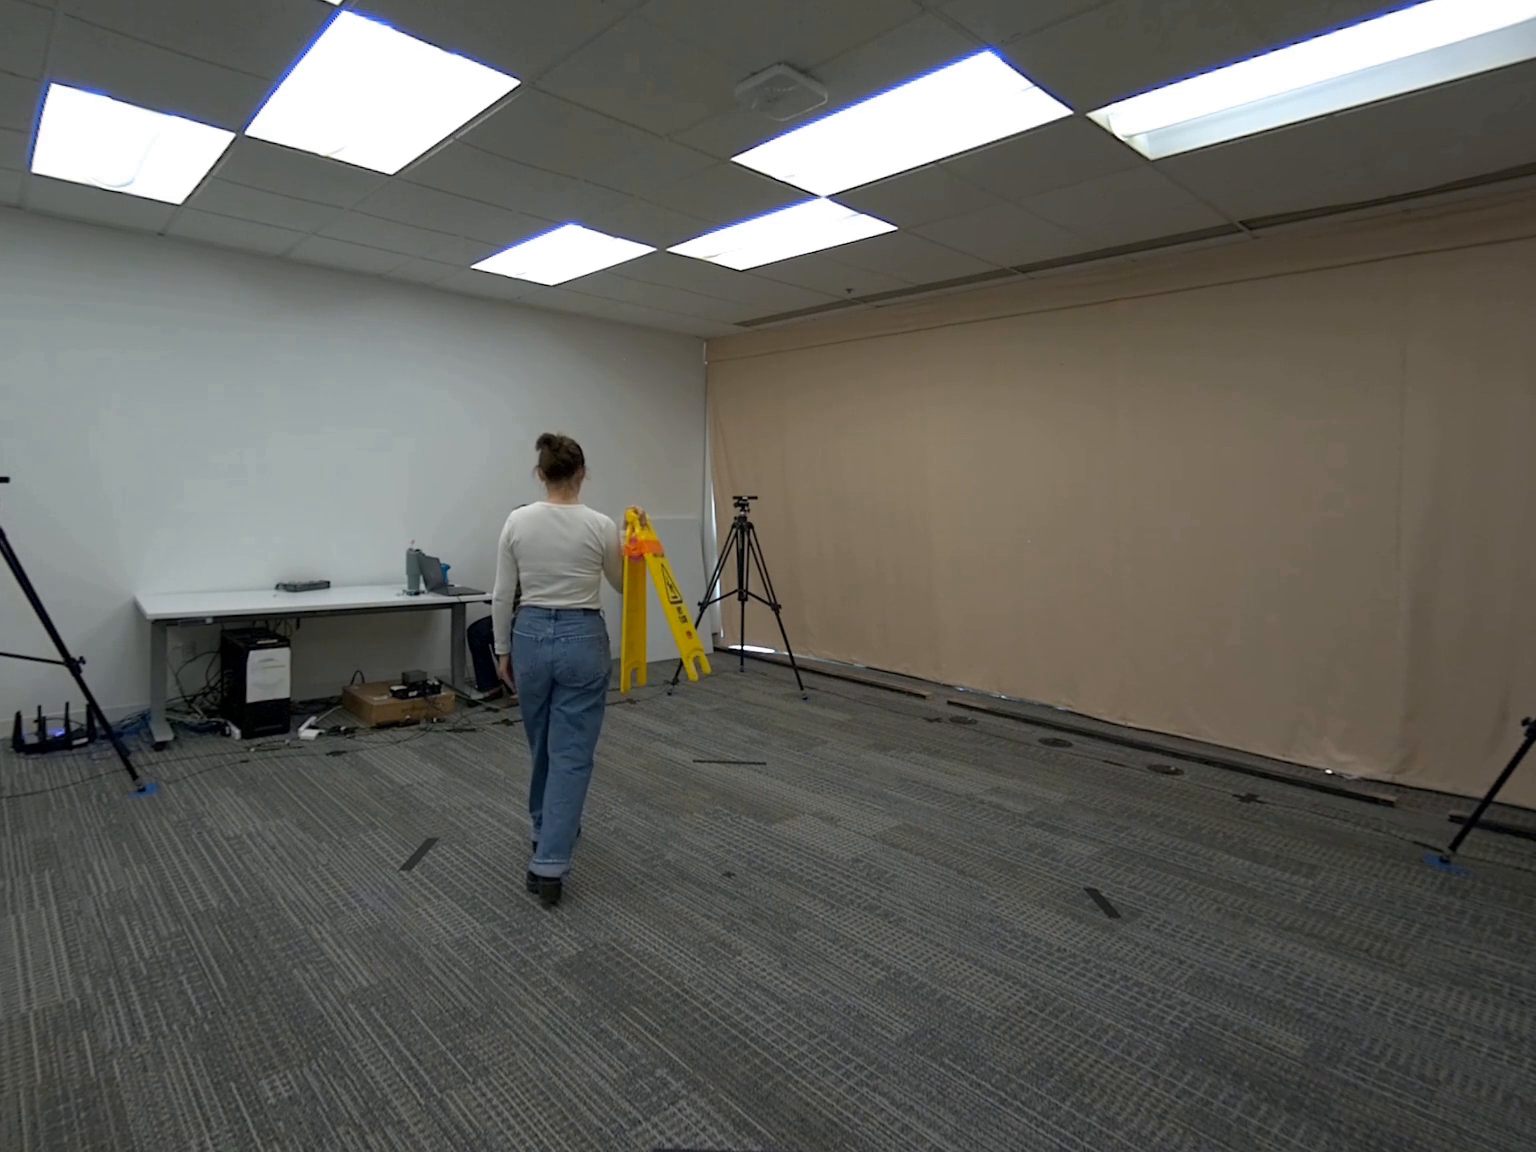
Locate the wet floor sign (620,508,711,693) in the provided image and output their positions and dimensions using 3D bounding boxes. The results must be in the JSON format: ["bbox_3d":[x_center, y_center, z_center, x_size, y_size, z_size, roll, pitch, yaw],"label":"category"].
[{"bbox_3d":[-0.444,0.073,3.108,0.292,0.647,0.280,-9,-1,11],"label":"wet floor sign"}]
